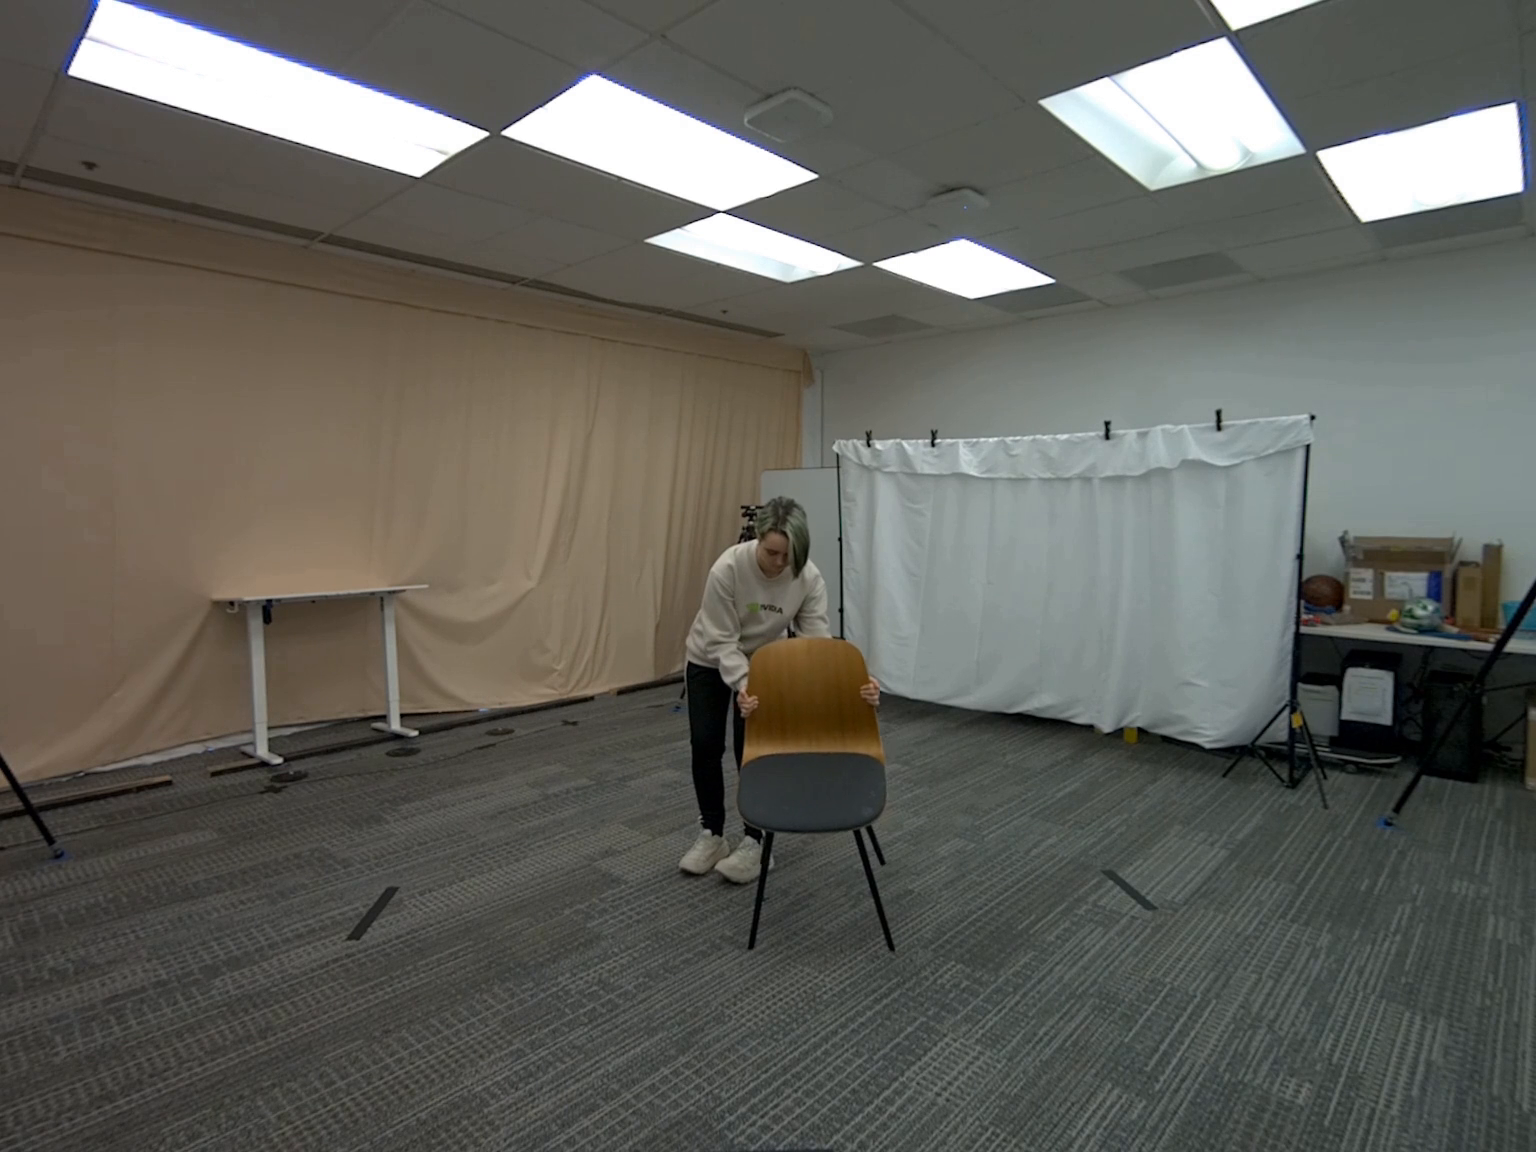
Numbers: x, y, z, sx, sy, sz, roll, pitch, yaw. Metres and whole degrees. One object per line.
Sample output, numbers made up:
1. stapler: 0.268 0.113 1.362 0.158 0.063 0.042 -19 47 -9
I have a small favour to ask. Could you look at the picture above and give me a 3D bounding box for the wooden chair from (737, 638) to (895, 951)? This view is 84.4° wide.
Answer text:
1. wooden chair: 0.154 0.697 2.711 0.482 0.871 0.522 -3 9 7
